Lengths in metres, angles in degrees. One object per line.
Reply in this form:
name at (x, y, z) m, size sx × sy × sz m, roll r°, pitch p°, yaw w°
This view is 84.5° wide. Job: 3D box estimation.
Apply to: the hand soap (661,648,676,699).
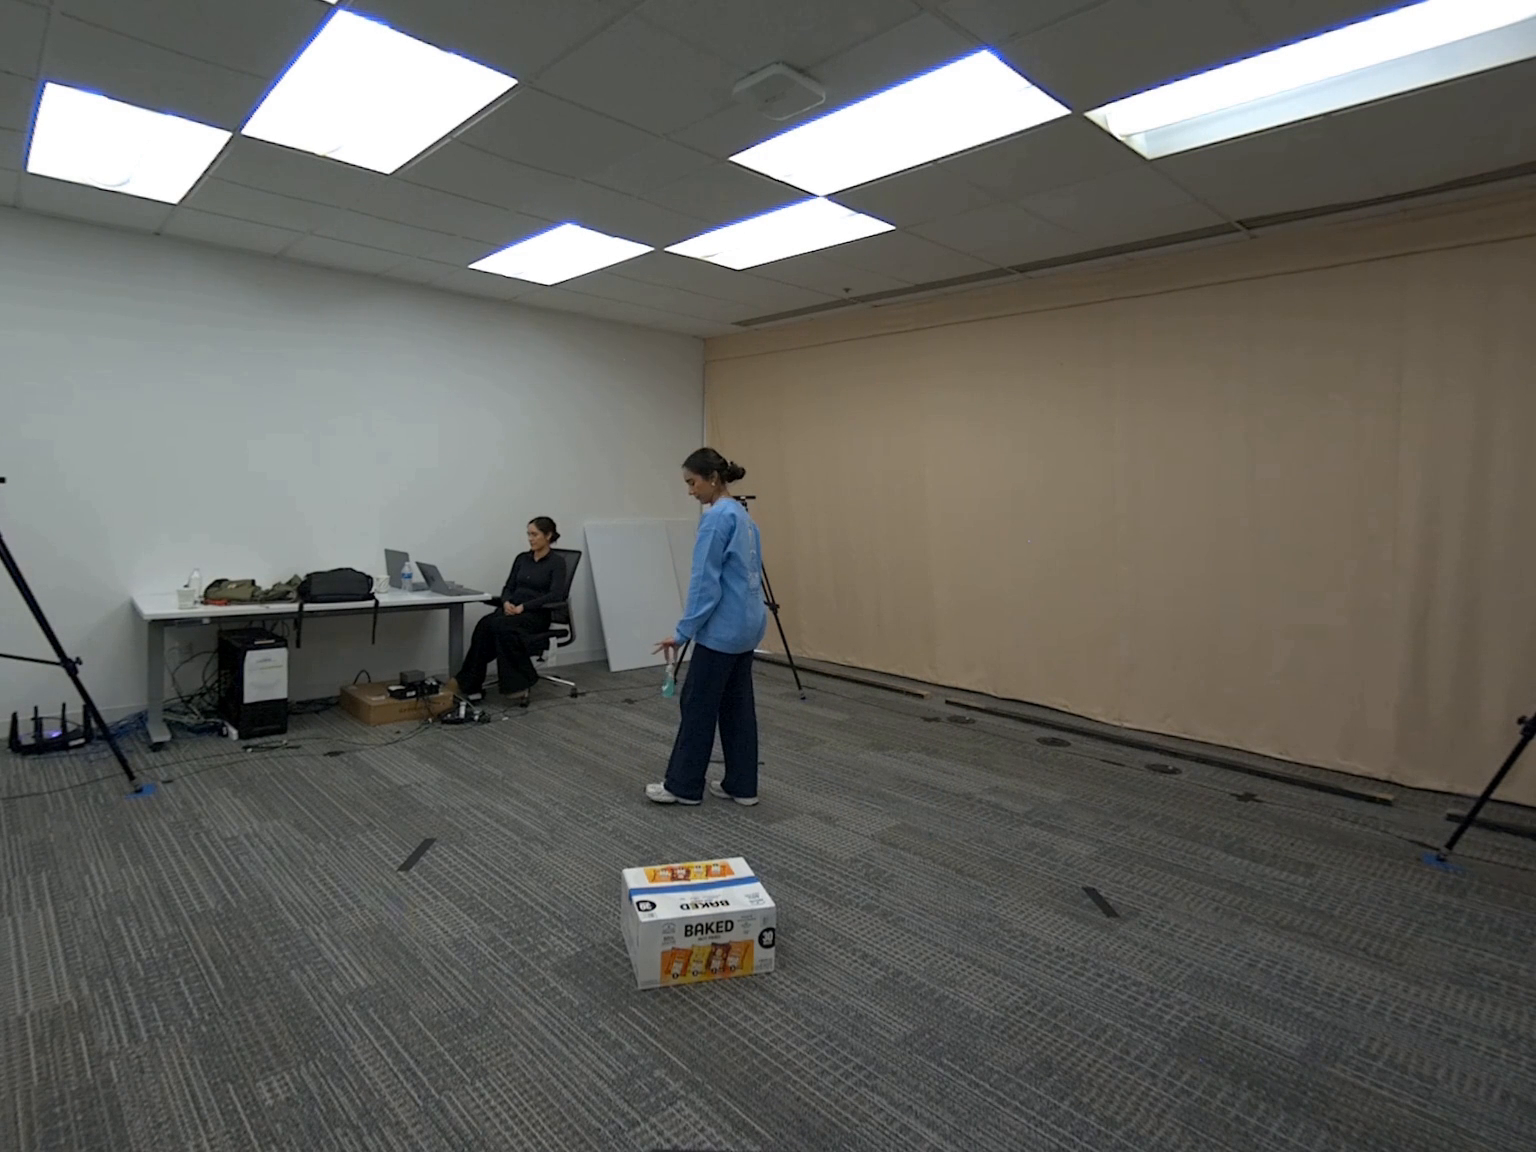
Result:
hand soap at (-0.432, 0.435, 3.665) m, size 0.043 × 0.168 × 0.086 m, roll 7°, pitch 2°, yaw -16°
